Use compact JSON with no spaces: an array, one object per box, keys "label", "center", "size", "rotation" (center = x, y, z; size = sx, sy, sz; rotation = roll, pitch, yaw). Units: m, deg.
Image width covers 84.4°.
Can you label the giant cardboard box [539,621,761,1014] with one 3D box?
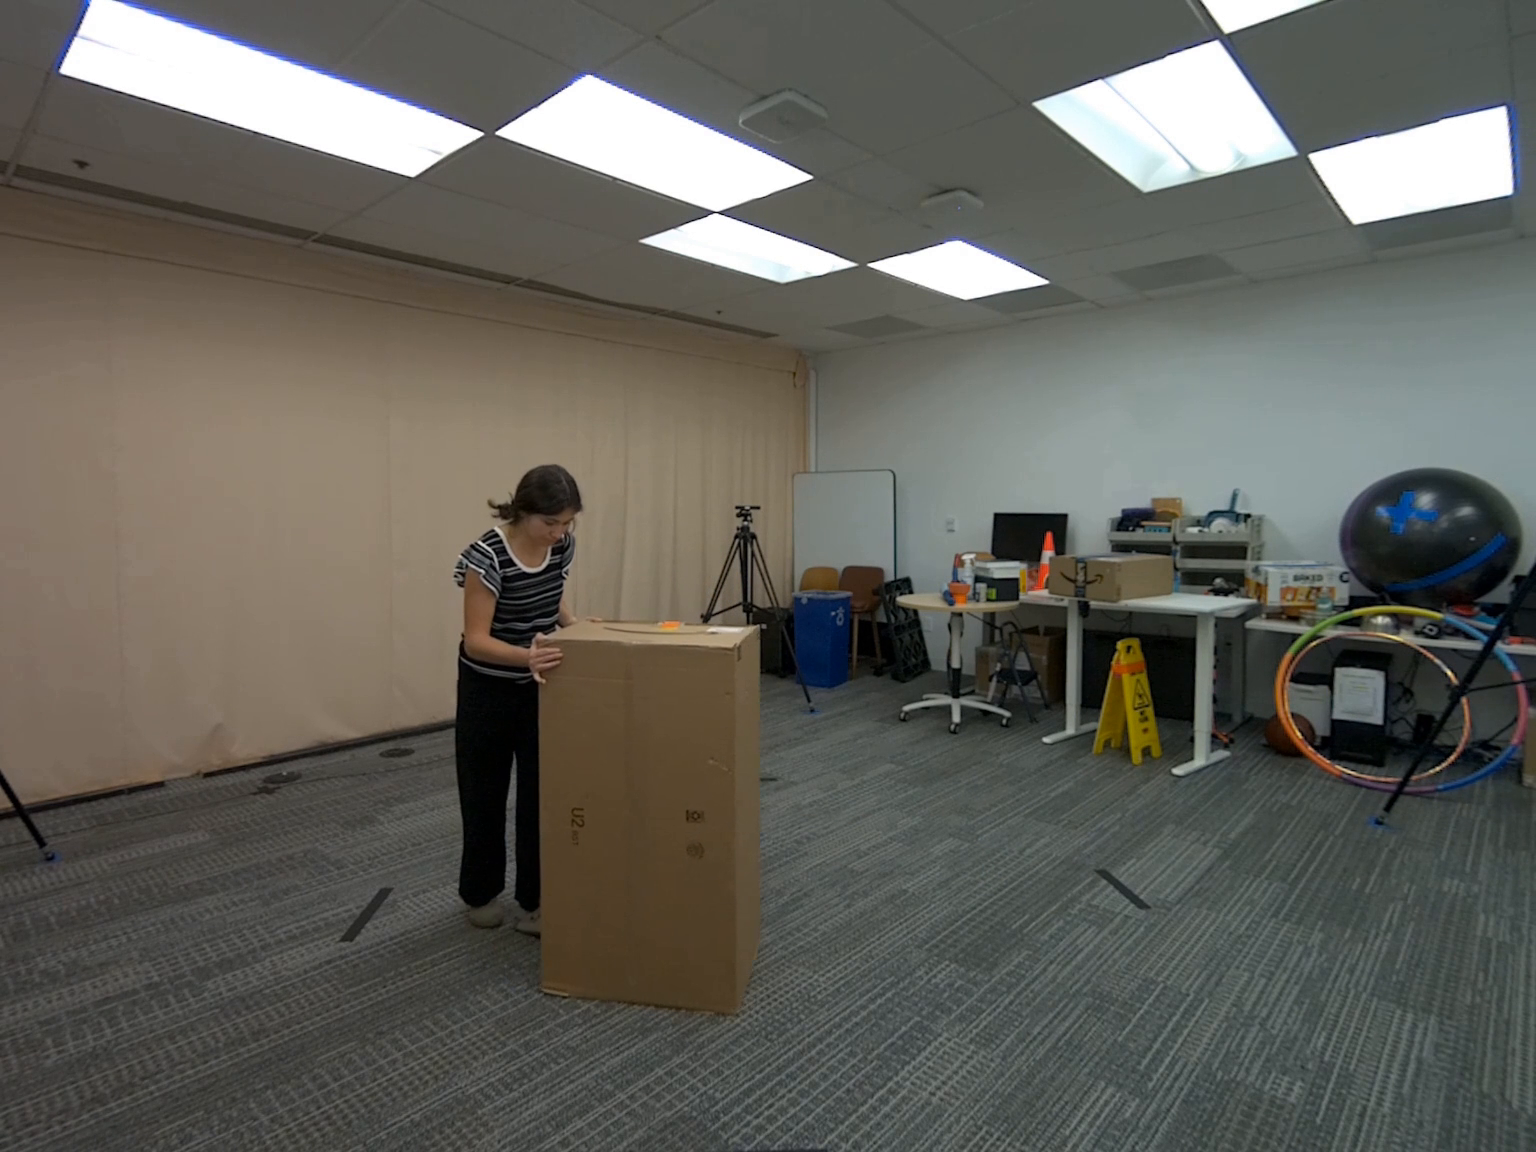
[{"label":"giant cardboard box","center":[-0.336,0.678,2.532],"size":[0.585,1.024,0.421],"rotation":[1,3,11]}]
